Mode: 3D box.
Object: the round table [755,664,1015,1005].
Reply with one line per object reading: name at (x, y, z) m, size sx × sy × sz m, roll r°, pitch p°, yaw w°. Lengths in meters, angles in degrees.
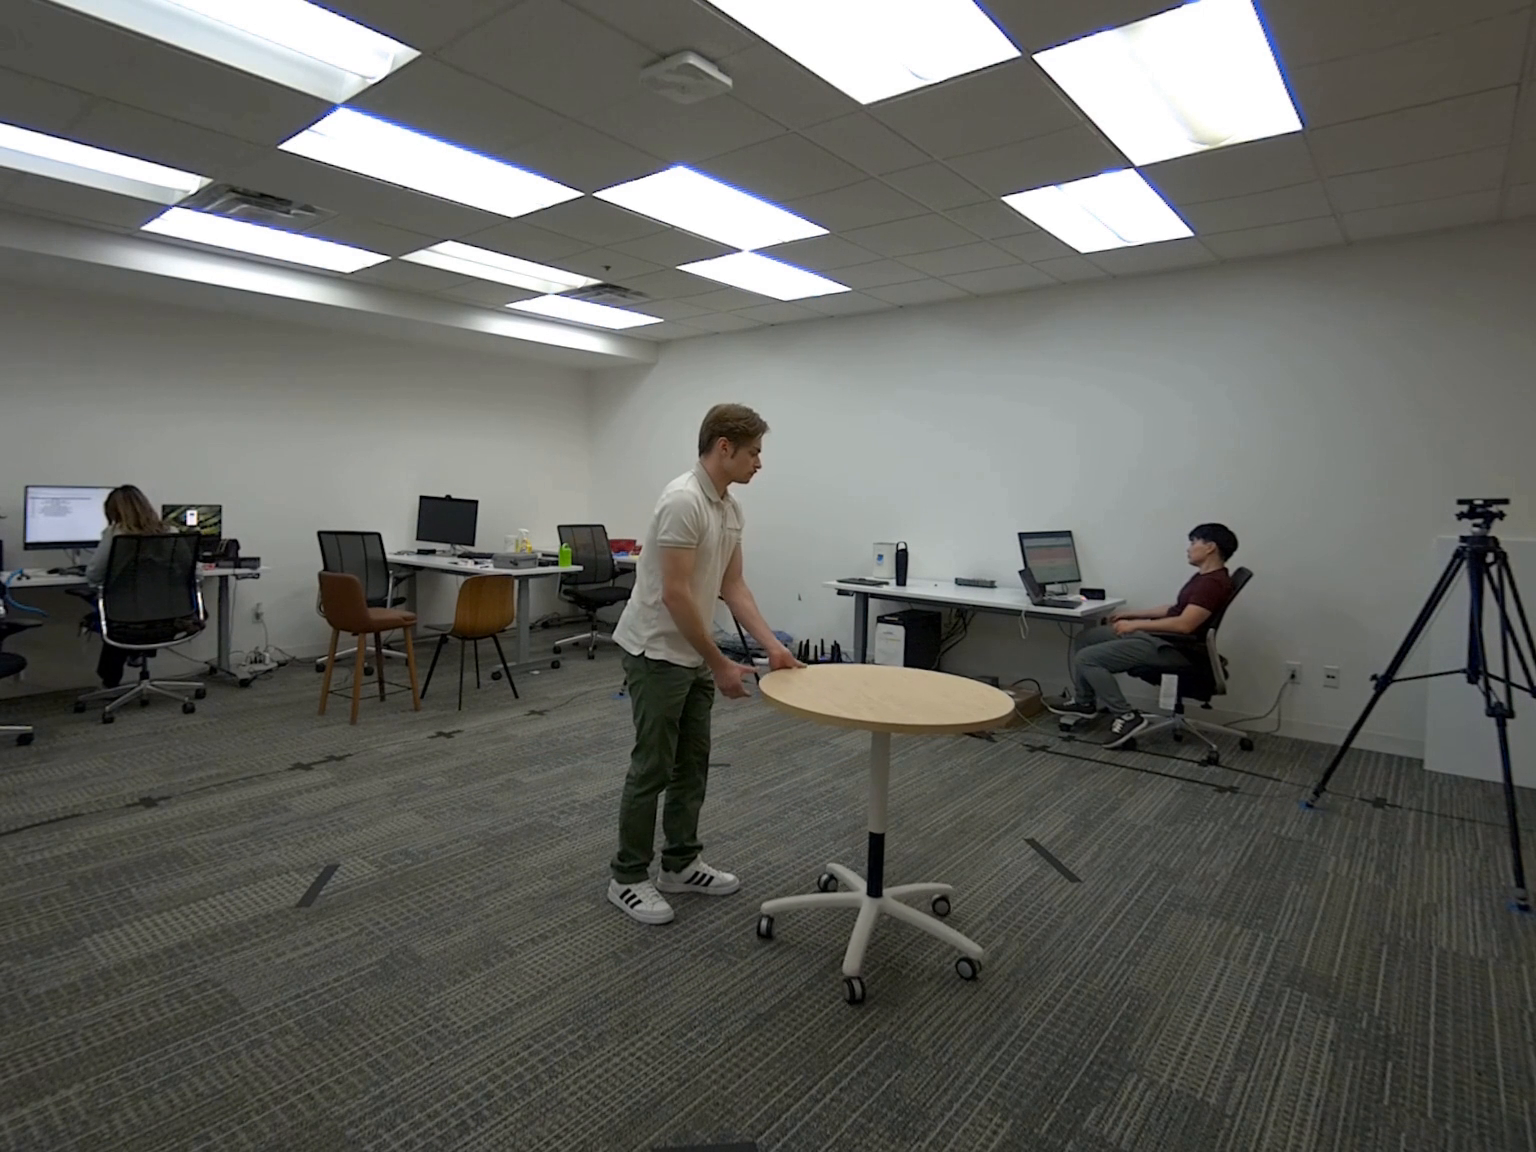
round table at (0.337, 0.740, 2.634) m, size 0.763 × 0.791 × 0.768 m, roll 2°, pitch 4°, yaw -2°
